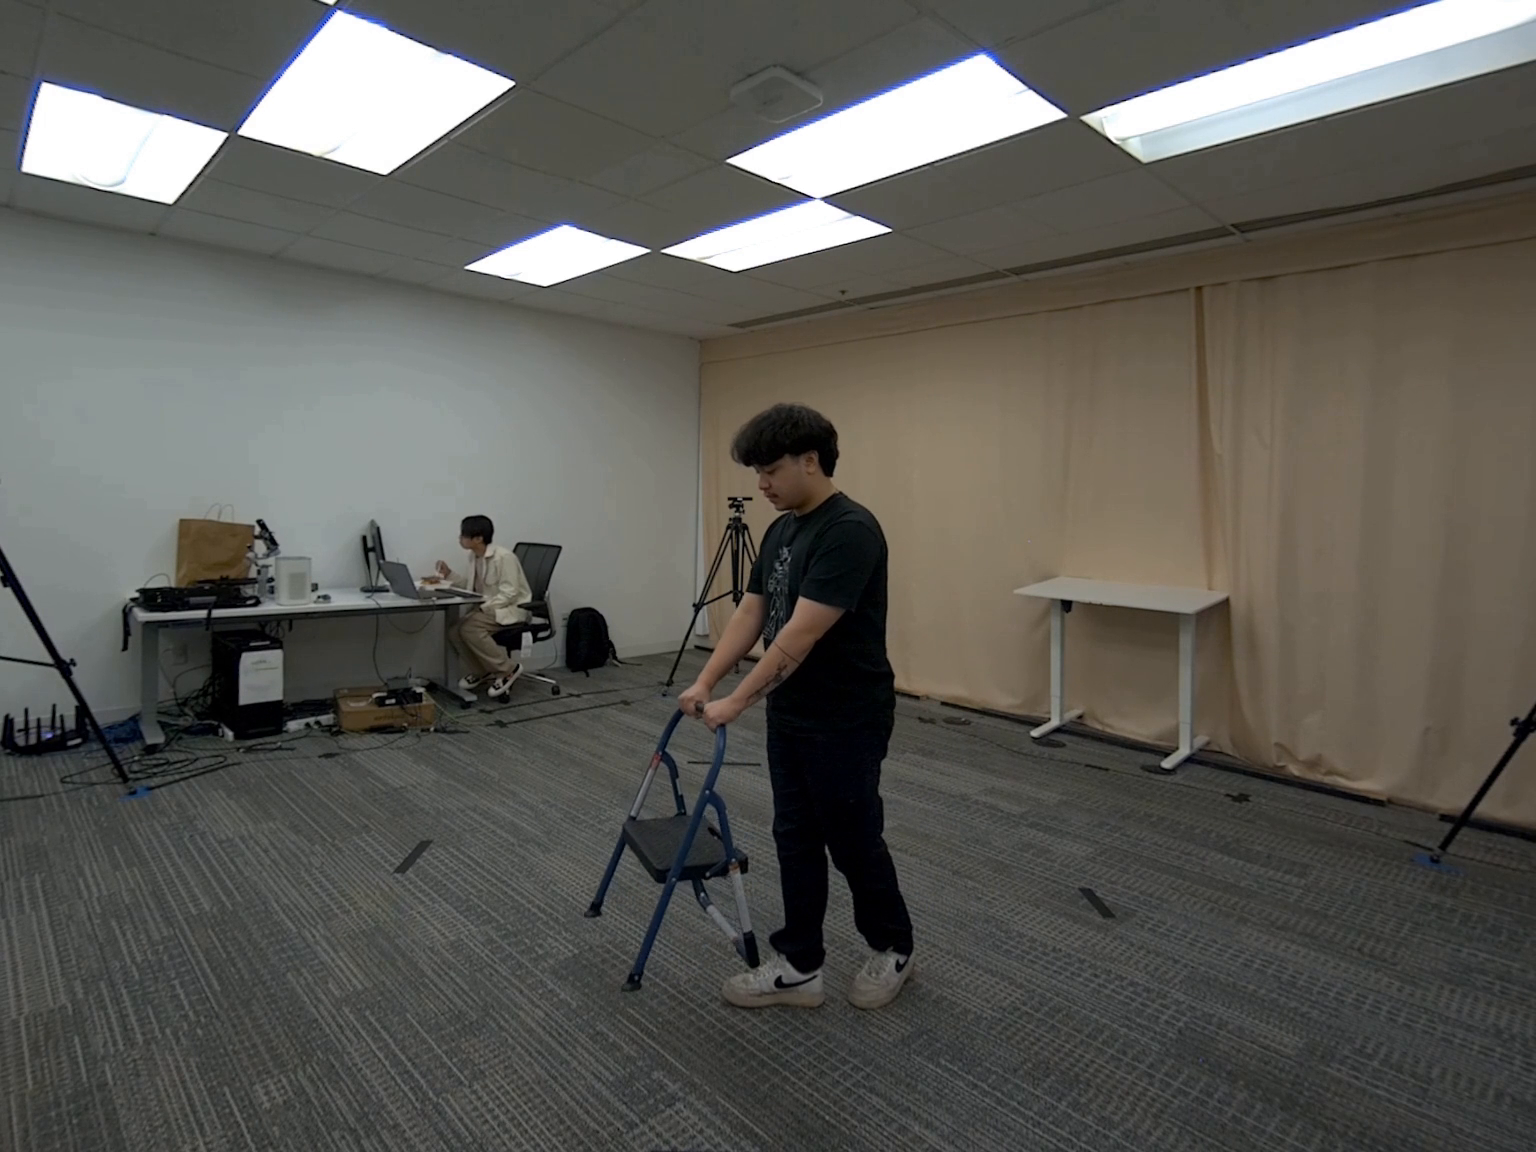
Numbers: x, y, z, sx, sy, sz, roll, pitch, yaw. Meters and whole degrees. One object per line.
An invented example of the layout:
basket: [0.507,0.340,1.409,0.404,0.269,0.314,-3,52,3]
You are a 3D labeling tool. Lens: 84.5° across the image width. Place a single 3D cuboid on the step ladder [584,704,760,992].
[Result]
step ladder: [-0.249,0.651,2.181,0.343,0.606,0.438,2,1,-25]
